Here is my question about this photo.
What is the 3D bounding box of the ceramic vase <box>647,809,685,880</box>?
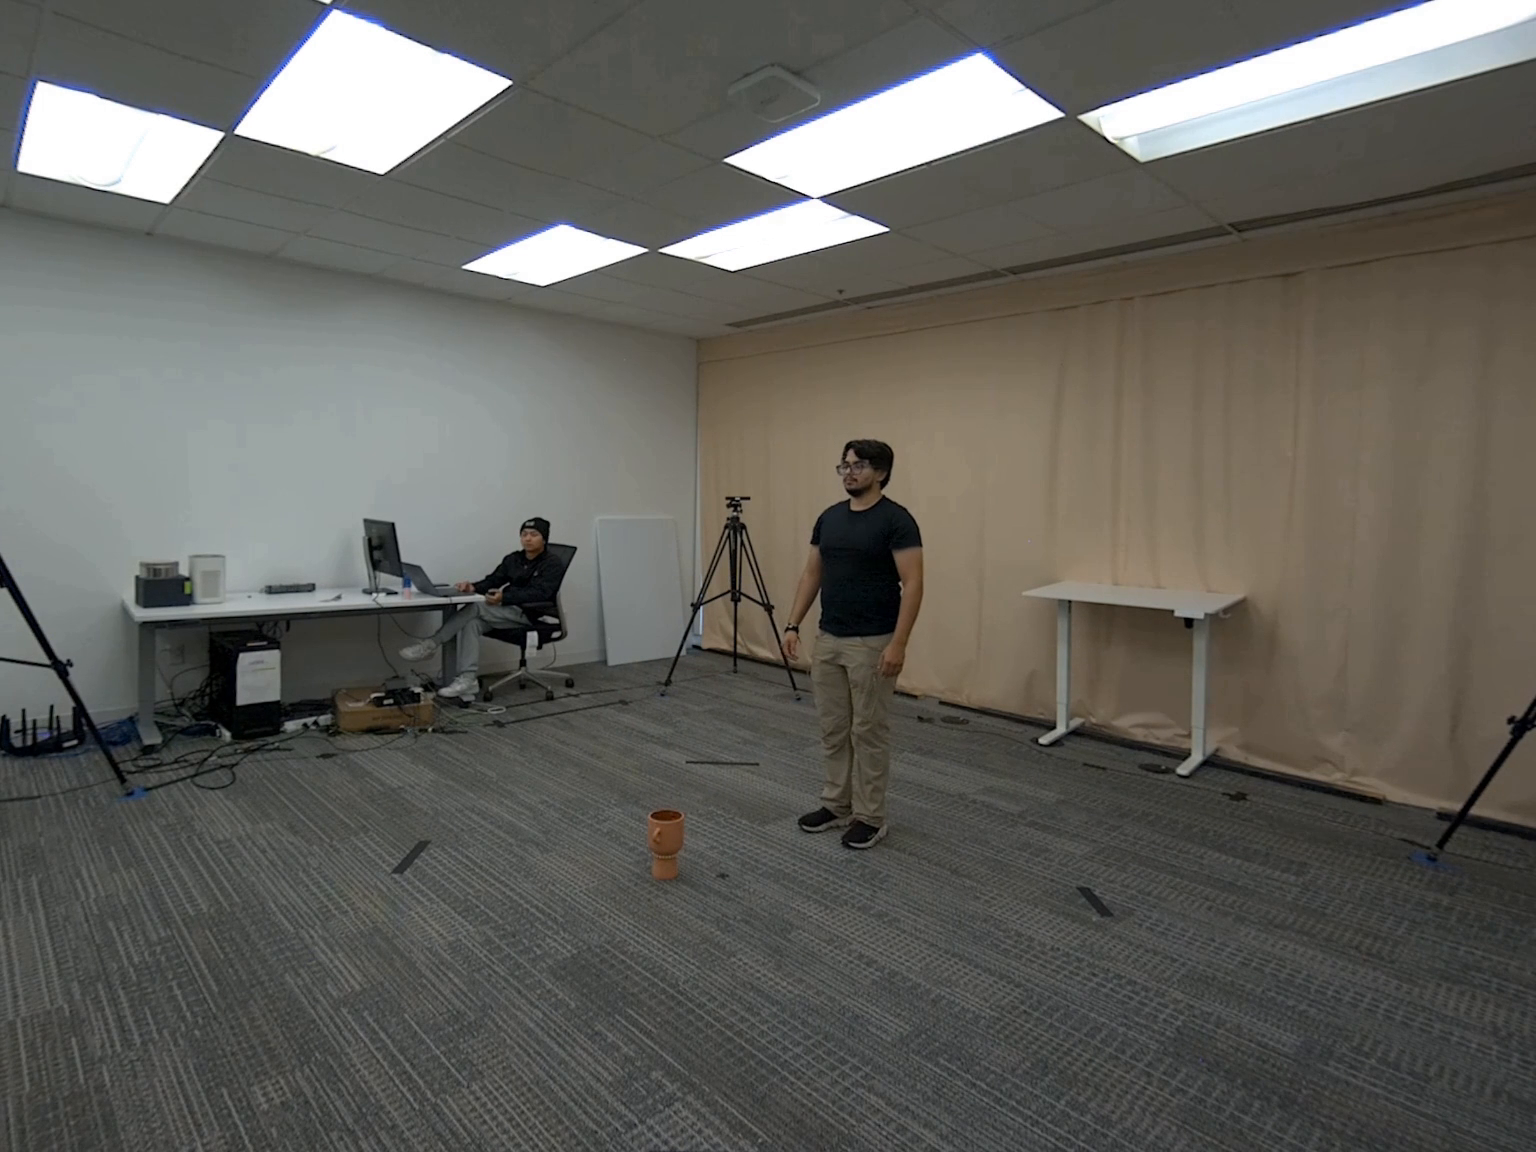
[{"bbox_3d":[-0.387,0.990,3.101,0.155,0.219,0.138,-1,4,-32],"label":"ceramic vase"}]
